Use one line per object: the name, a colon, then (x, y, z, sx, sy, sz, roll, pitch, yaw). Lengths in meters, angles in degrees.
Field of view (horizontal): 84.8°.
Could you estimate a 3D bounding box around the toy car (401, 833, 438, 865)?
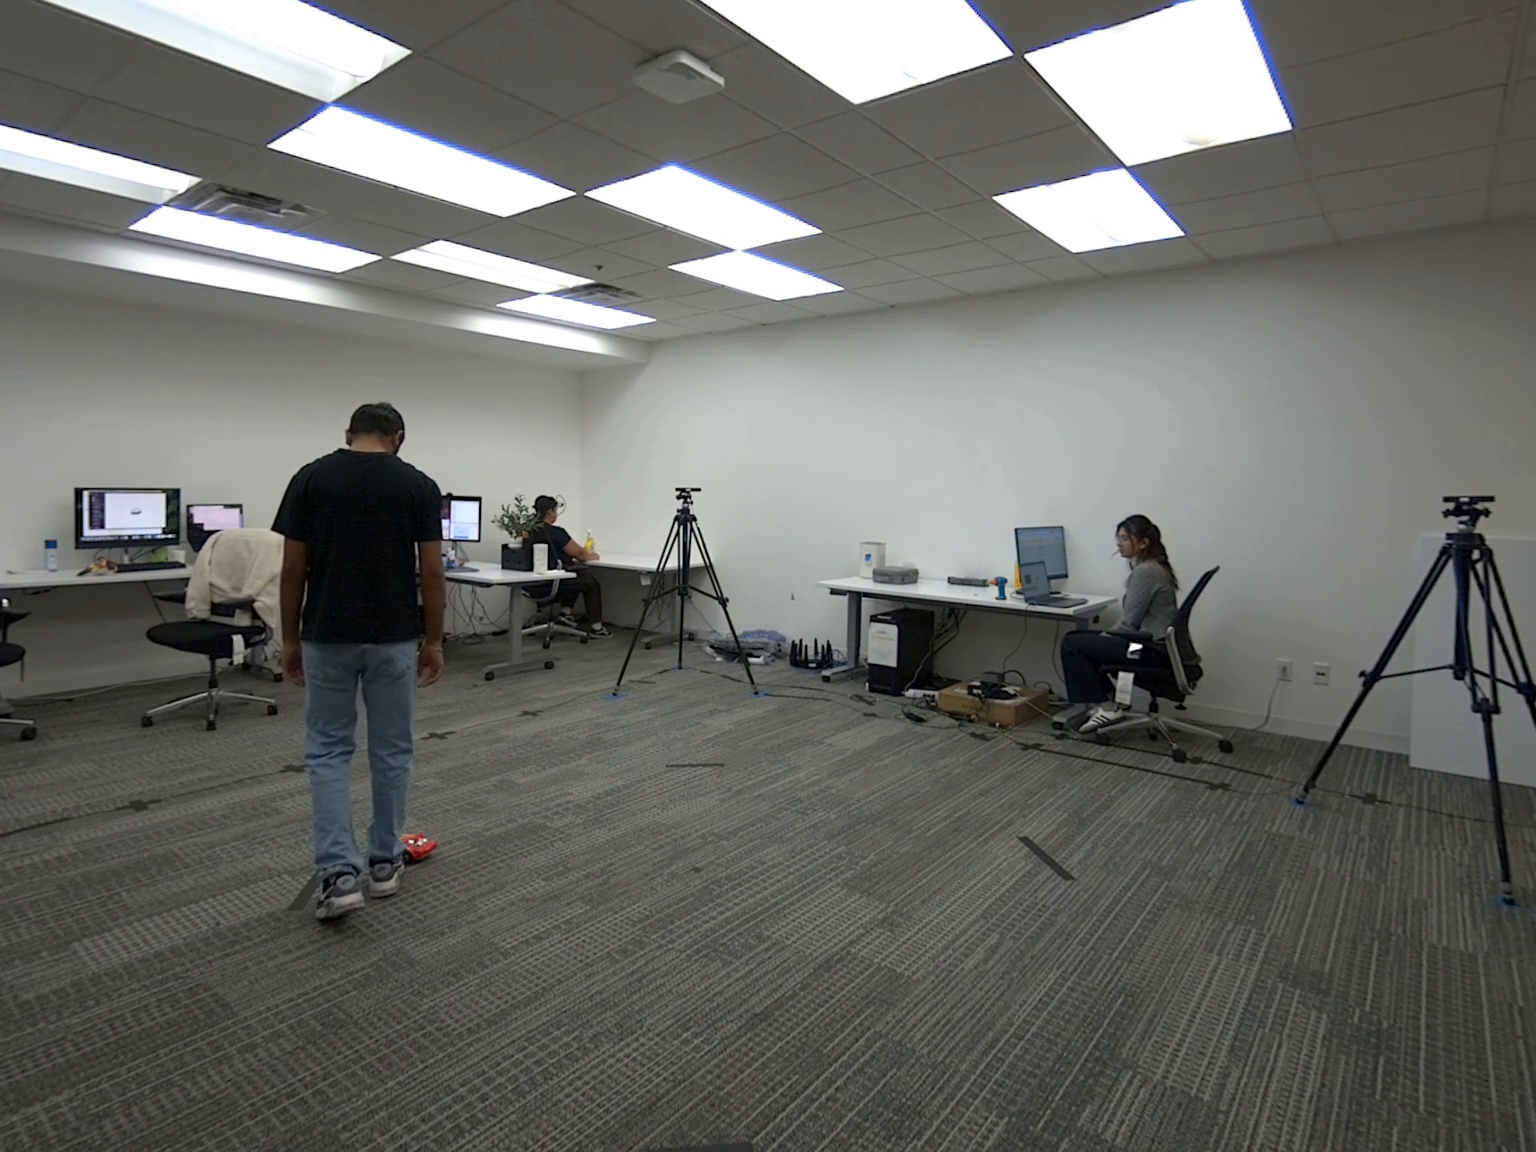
toy car: (-1.373, 1.019, 3.174, 0.258, 0.083, 0.128, -9, 1, 17)
